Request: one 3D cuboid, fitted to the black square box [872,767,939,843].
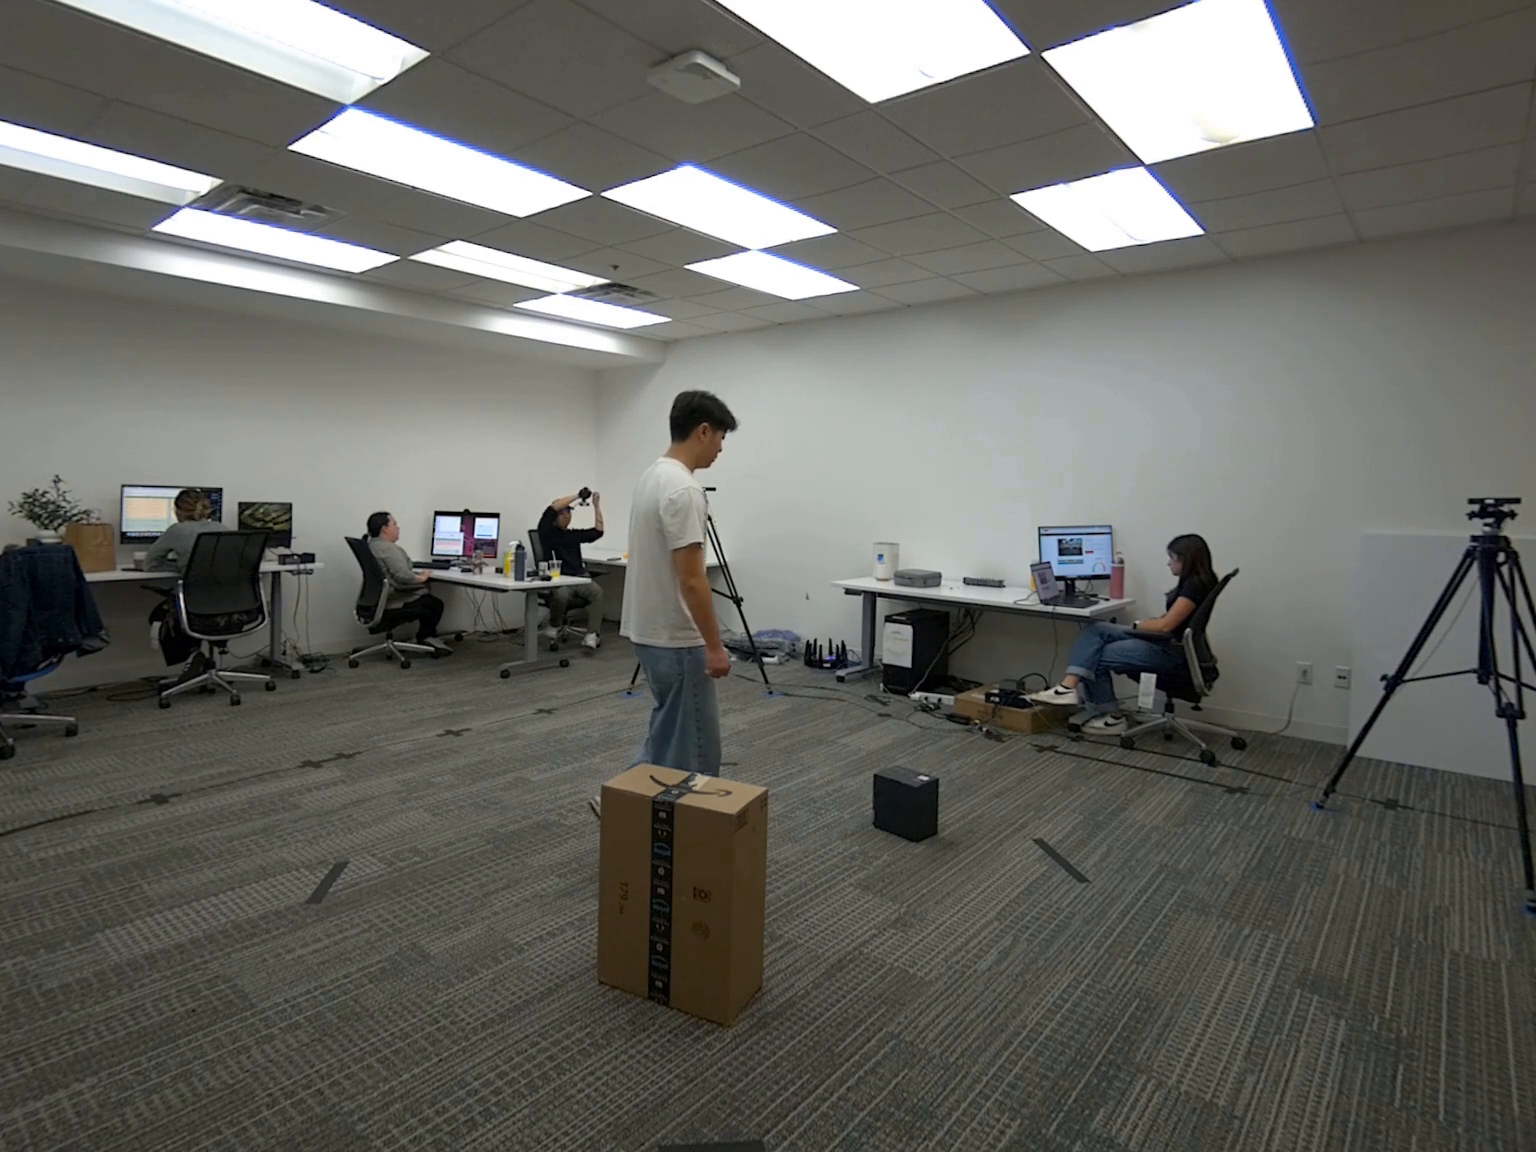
[{"bbox_3d":[0.563,0.928,3.501,0.151,0.227,0.224,-3,6,-44],"label":"black square box"}]
